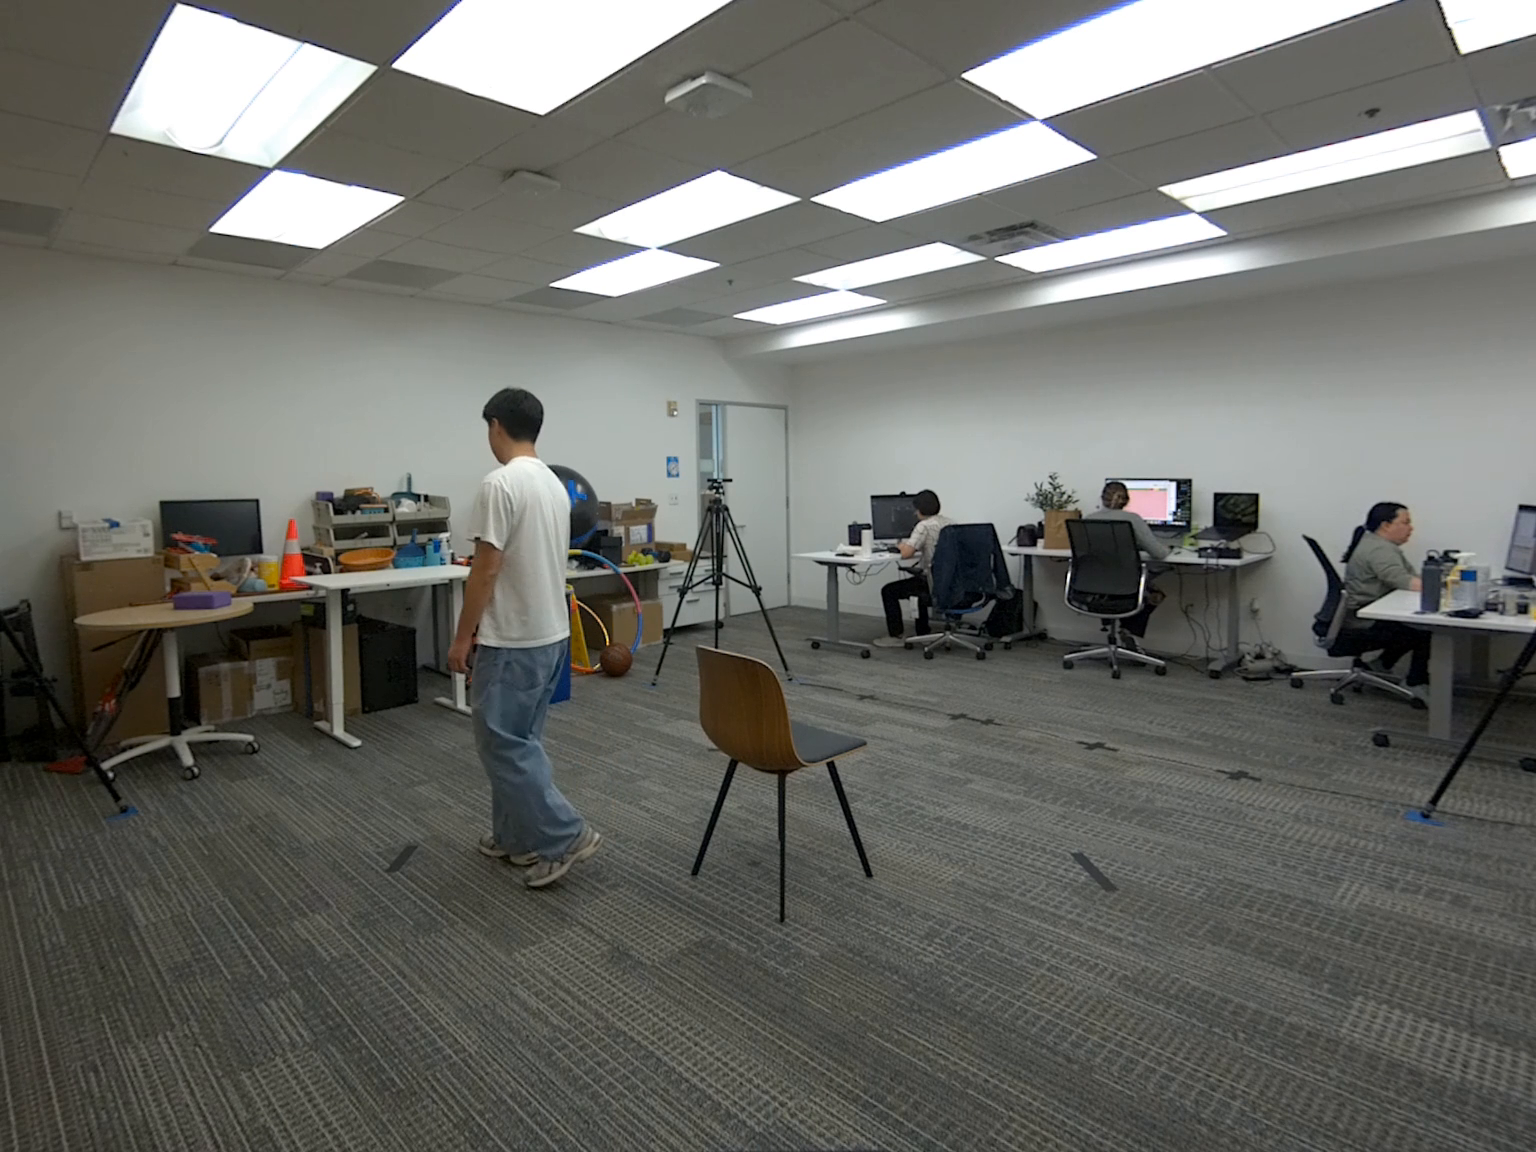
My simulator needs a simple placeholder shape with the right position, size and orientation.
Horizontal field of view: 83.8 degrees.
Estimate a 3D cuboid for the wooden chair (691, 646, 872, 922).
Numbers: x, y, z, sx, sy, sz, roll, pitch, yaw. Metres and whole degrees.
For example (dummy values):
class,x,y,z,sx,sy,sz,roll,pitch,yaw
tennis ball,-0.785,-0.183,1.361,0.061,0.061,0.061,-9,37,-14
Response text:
class,x,y,z,sx,sy,sz,roll,pitch,yaw
wooden chair,0.047,0.628,2.971,0.511,0.871,0.493,-11,10,-43
